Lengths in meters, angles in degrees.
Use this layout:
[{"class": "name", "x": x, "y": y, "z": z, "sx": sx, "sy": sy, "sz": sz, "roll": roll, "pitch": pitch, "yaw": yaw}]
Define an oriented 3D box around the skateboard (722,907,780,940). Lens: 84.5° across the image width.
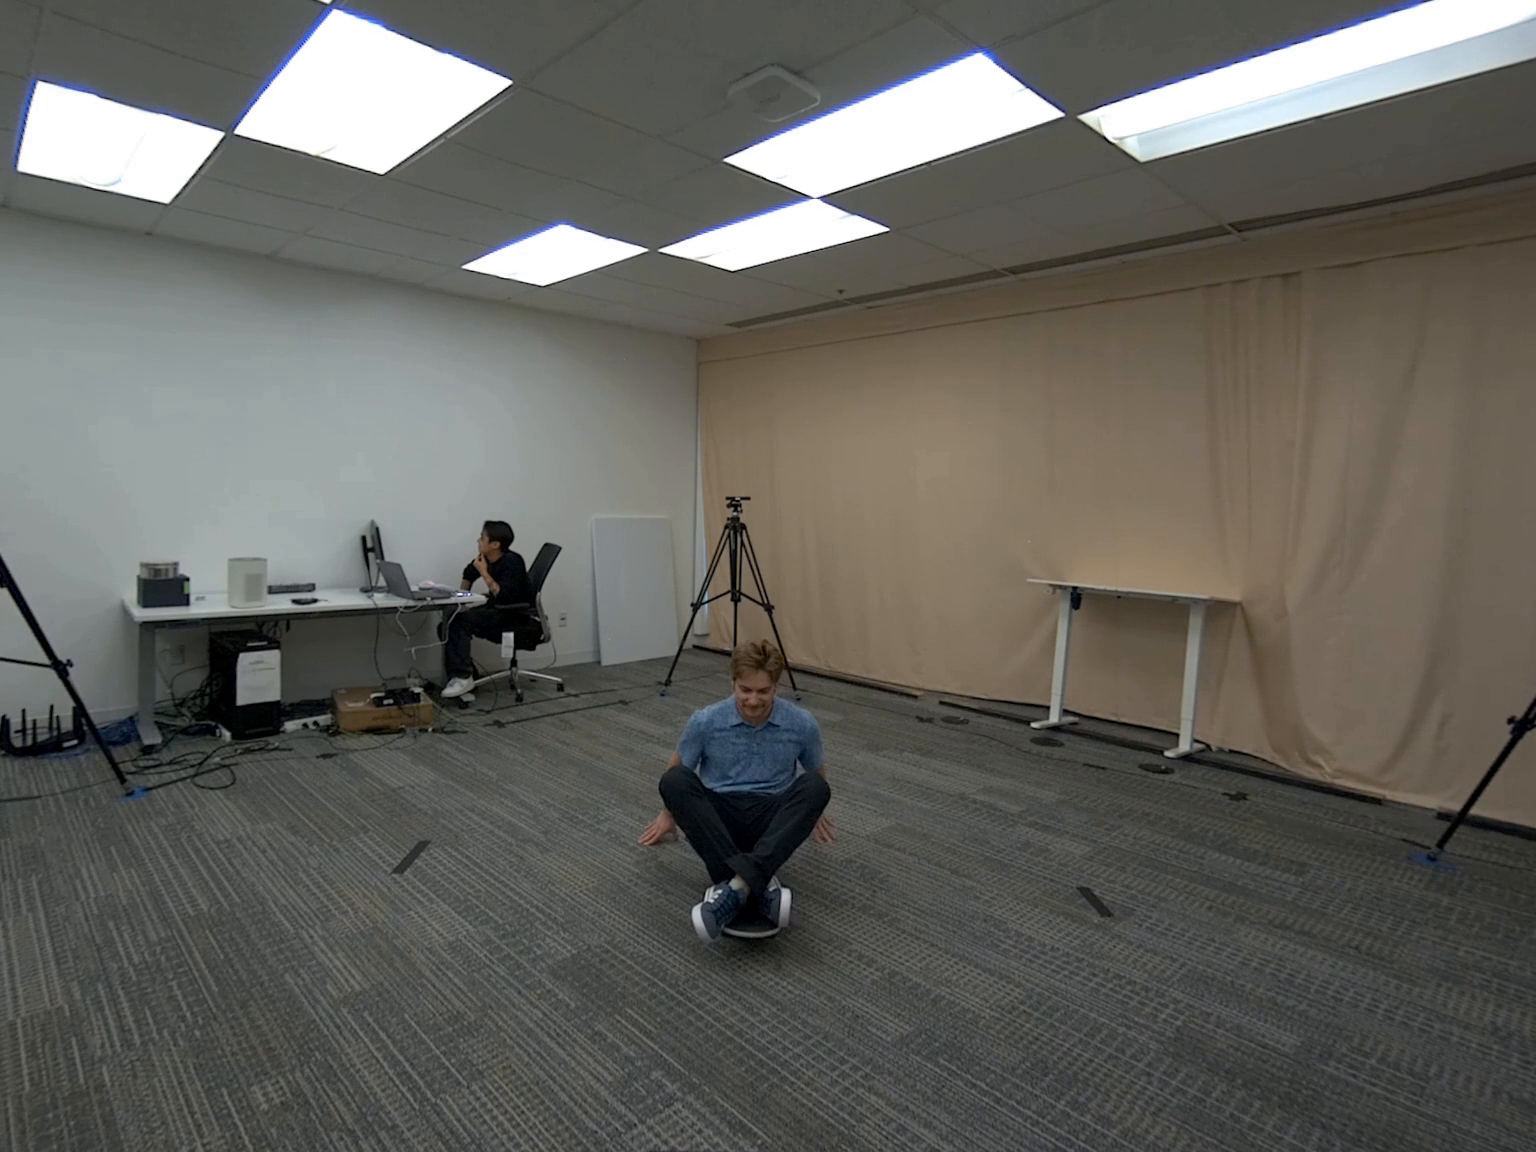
[{"class": "skateboard", "x": -0.078, "y": 1.081, "z": 2.873, "sx": 0.193, "sy": 0.110, "sz": 0.788, "roll": 2, "pitch": 4, "yaw": -2}]
